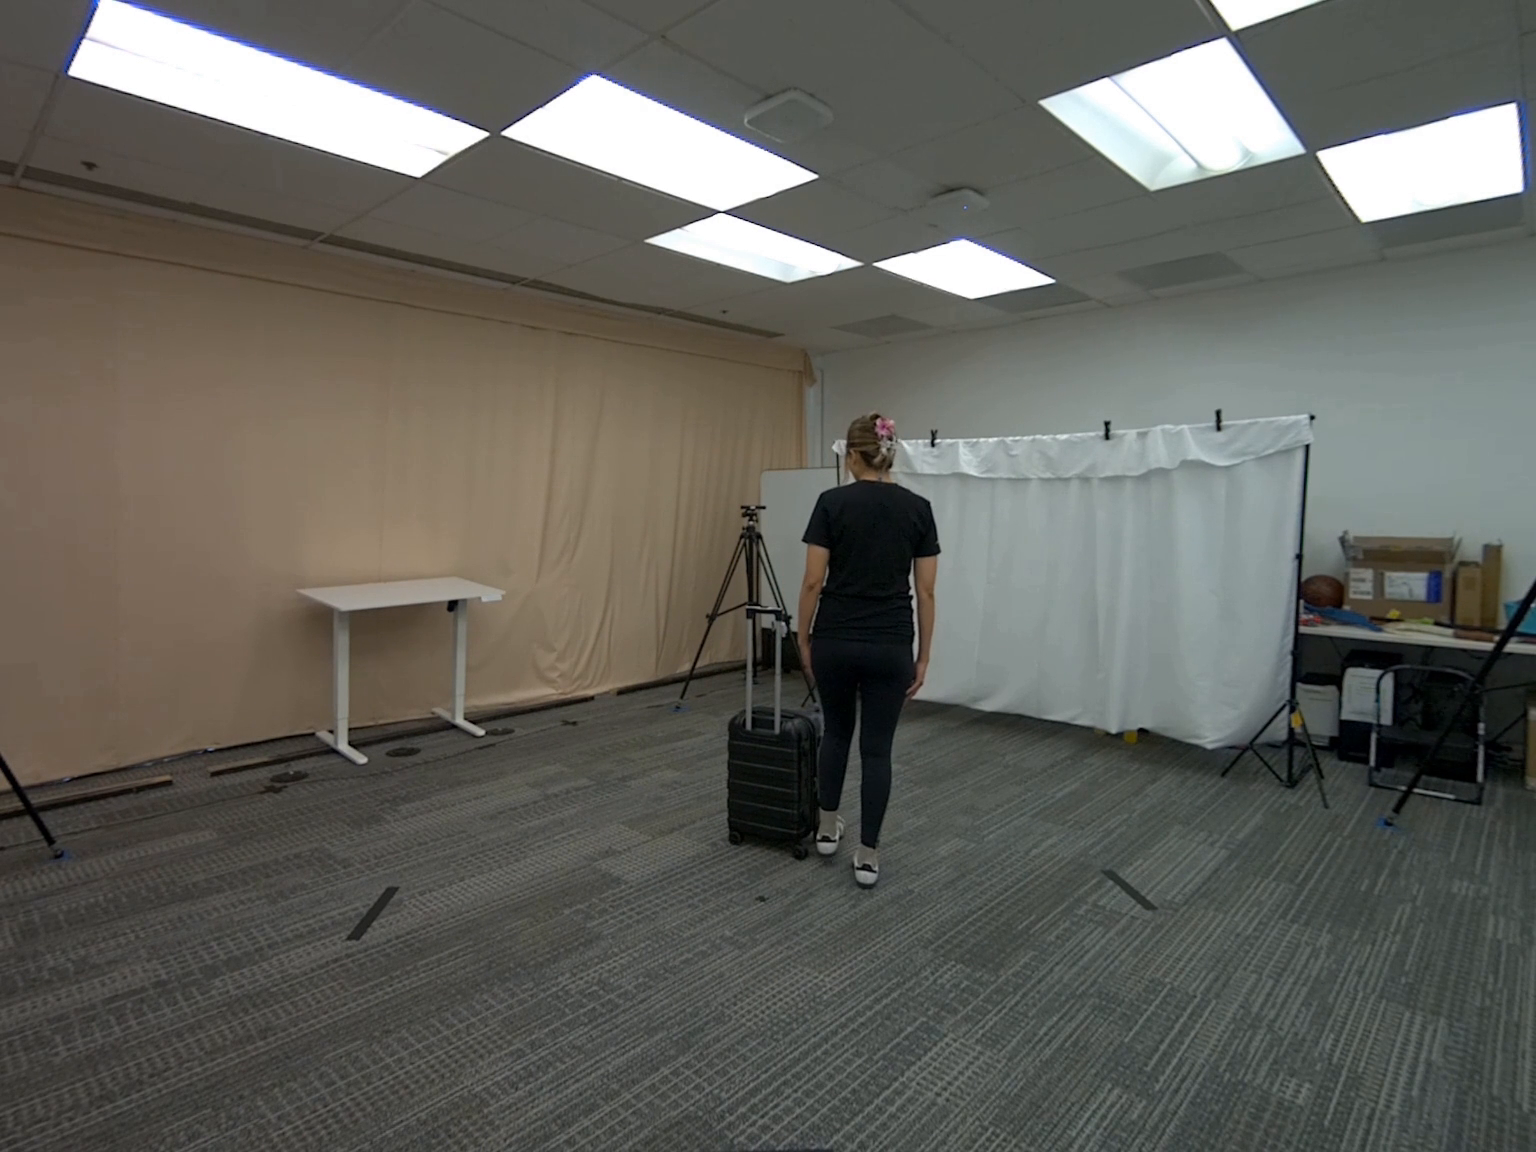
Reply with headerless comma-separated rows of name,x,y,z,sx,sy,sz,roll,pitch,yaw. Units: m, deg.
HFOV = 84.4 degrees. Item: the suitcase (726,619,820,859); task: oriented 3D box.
suitcase,0.020,0.623,3.497,0.394,0.978,0.250,0,1,27
